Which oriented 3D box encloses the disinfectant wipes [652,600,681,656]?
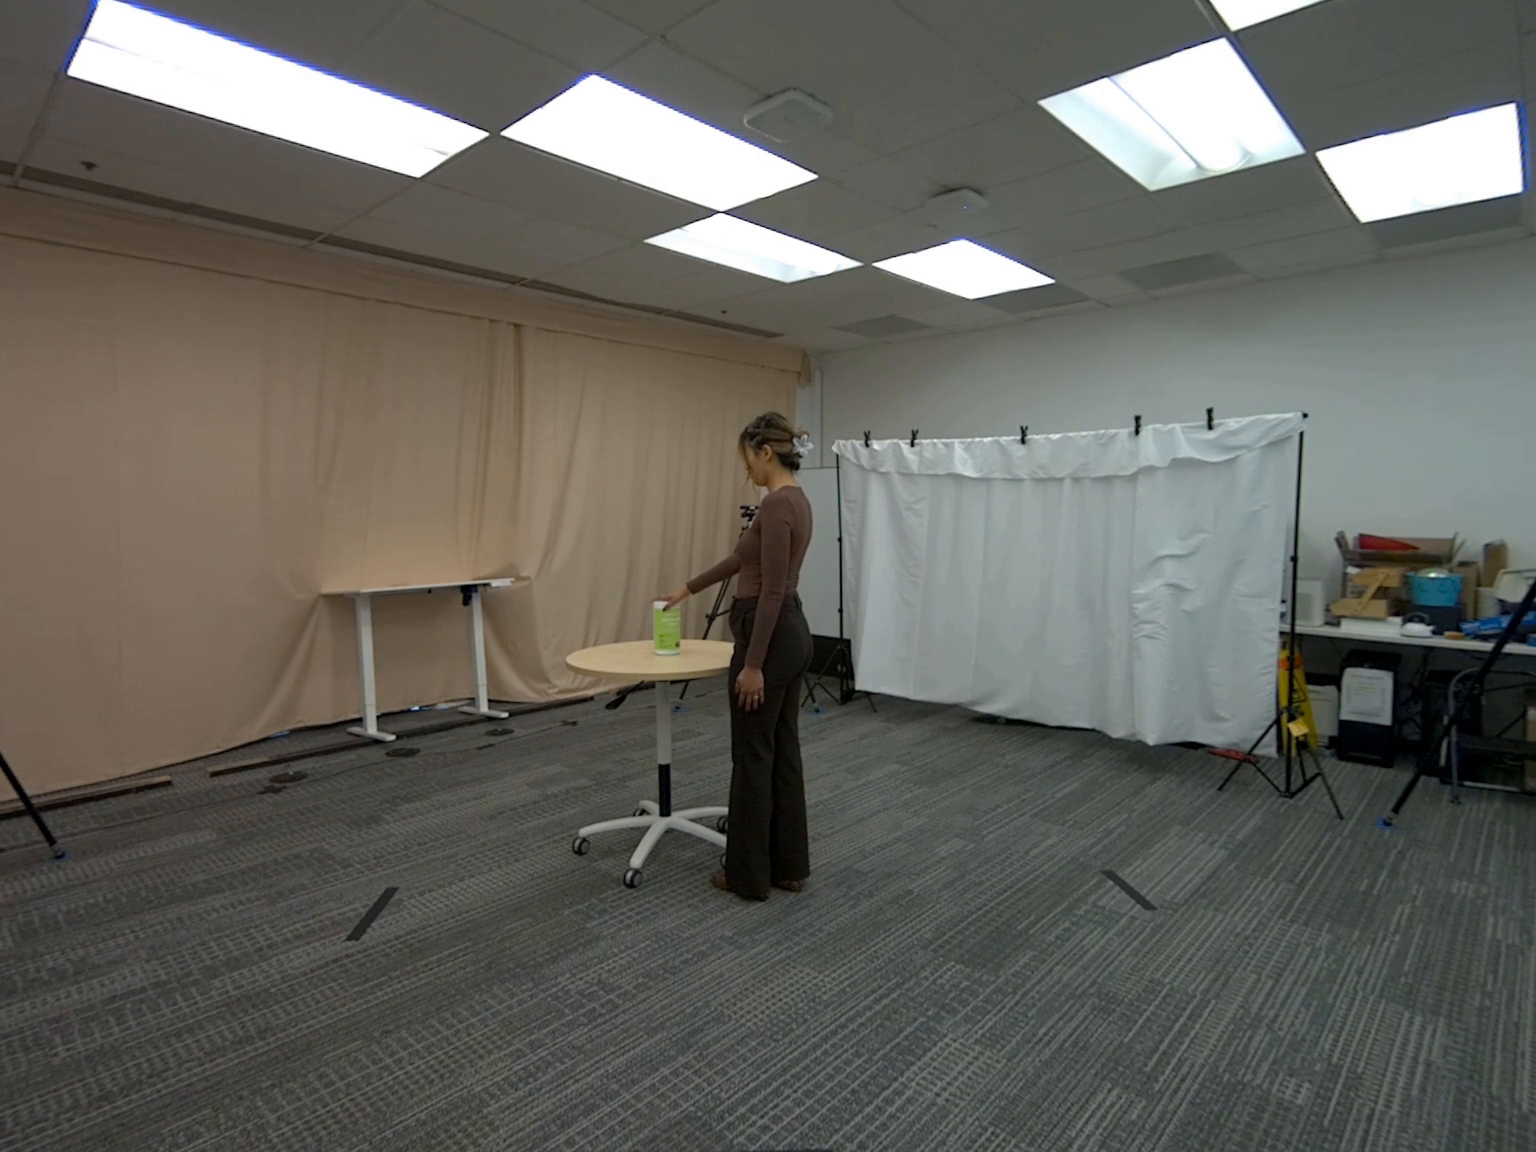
[{"bbox_3d":[-0.412,0.207,3.417,0.117,0.217,0.118,2,5,-2],"label":"disinfectant wipes"}]
